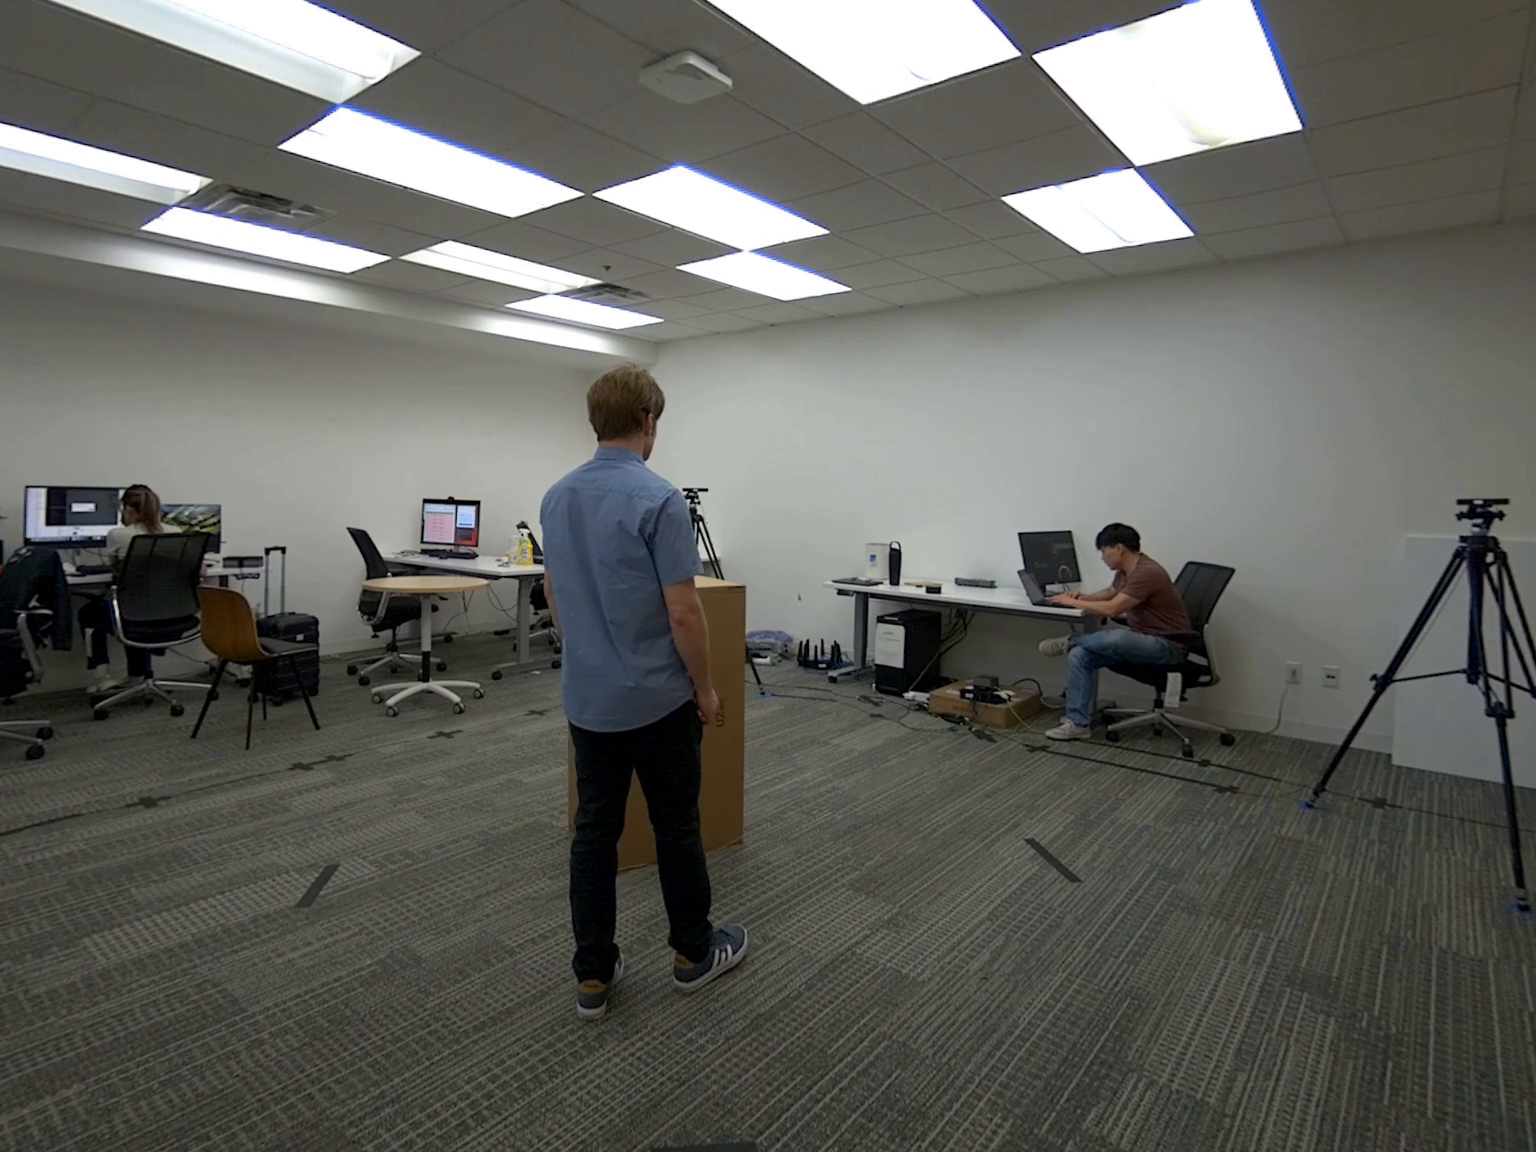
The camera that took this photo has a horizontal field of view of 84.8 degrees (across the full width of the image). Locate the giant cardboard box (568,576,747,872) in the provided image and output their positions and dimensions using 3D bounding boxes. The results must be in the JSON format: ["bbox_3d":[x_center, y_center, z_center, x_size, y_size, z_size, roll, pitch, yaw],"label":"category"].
[{"bbox_3d":[-0.451,0.531,3.359,0.561,1.023,0.439,-1,4,-33],"label":"giant cardboard box"}]
